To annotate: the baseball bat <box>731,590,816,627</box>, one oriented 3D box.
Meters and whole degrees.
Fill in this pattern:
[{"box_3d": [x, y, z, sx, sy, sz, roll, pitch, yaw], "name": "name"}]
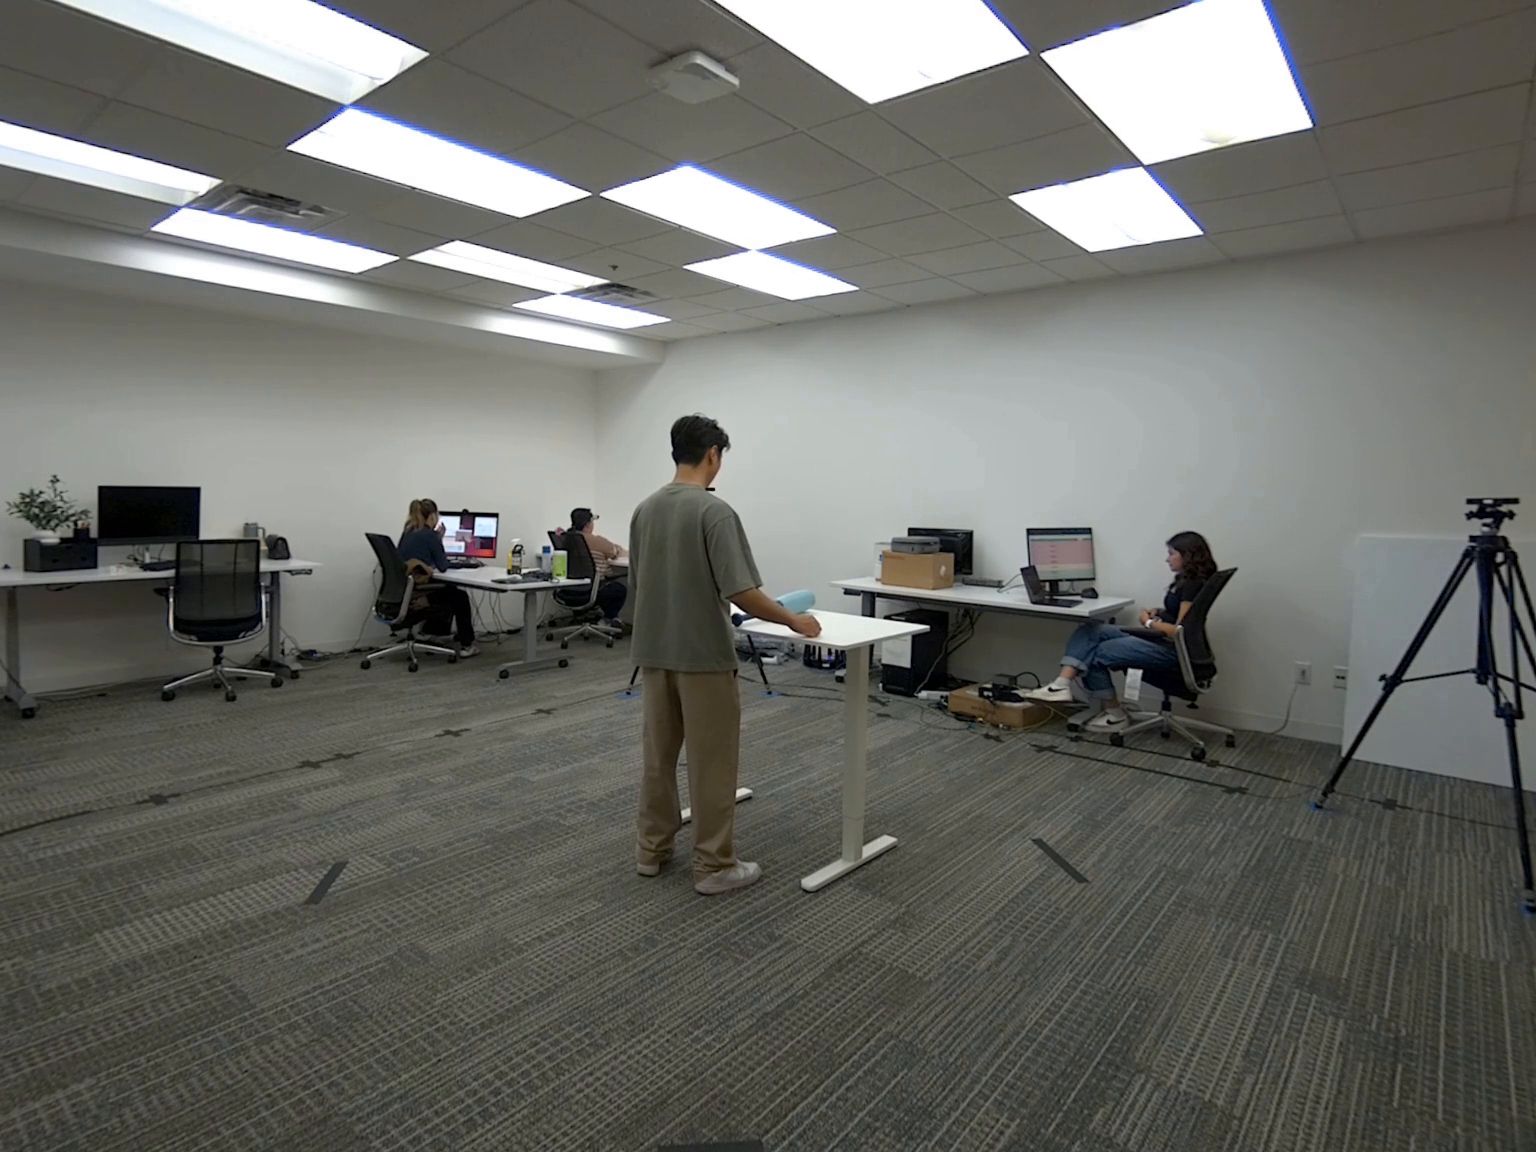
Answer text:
[{"box_3d": [0.023, 0.132, 3.353, 0.092, 0.088, 0.530, 3, 10, 32], "name": "baseball bat"}]
